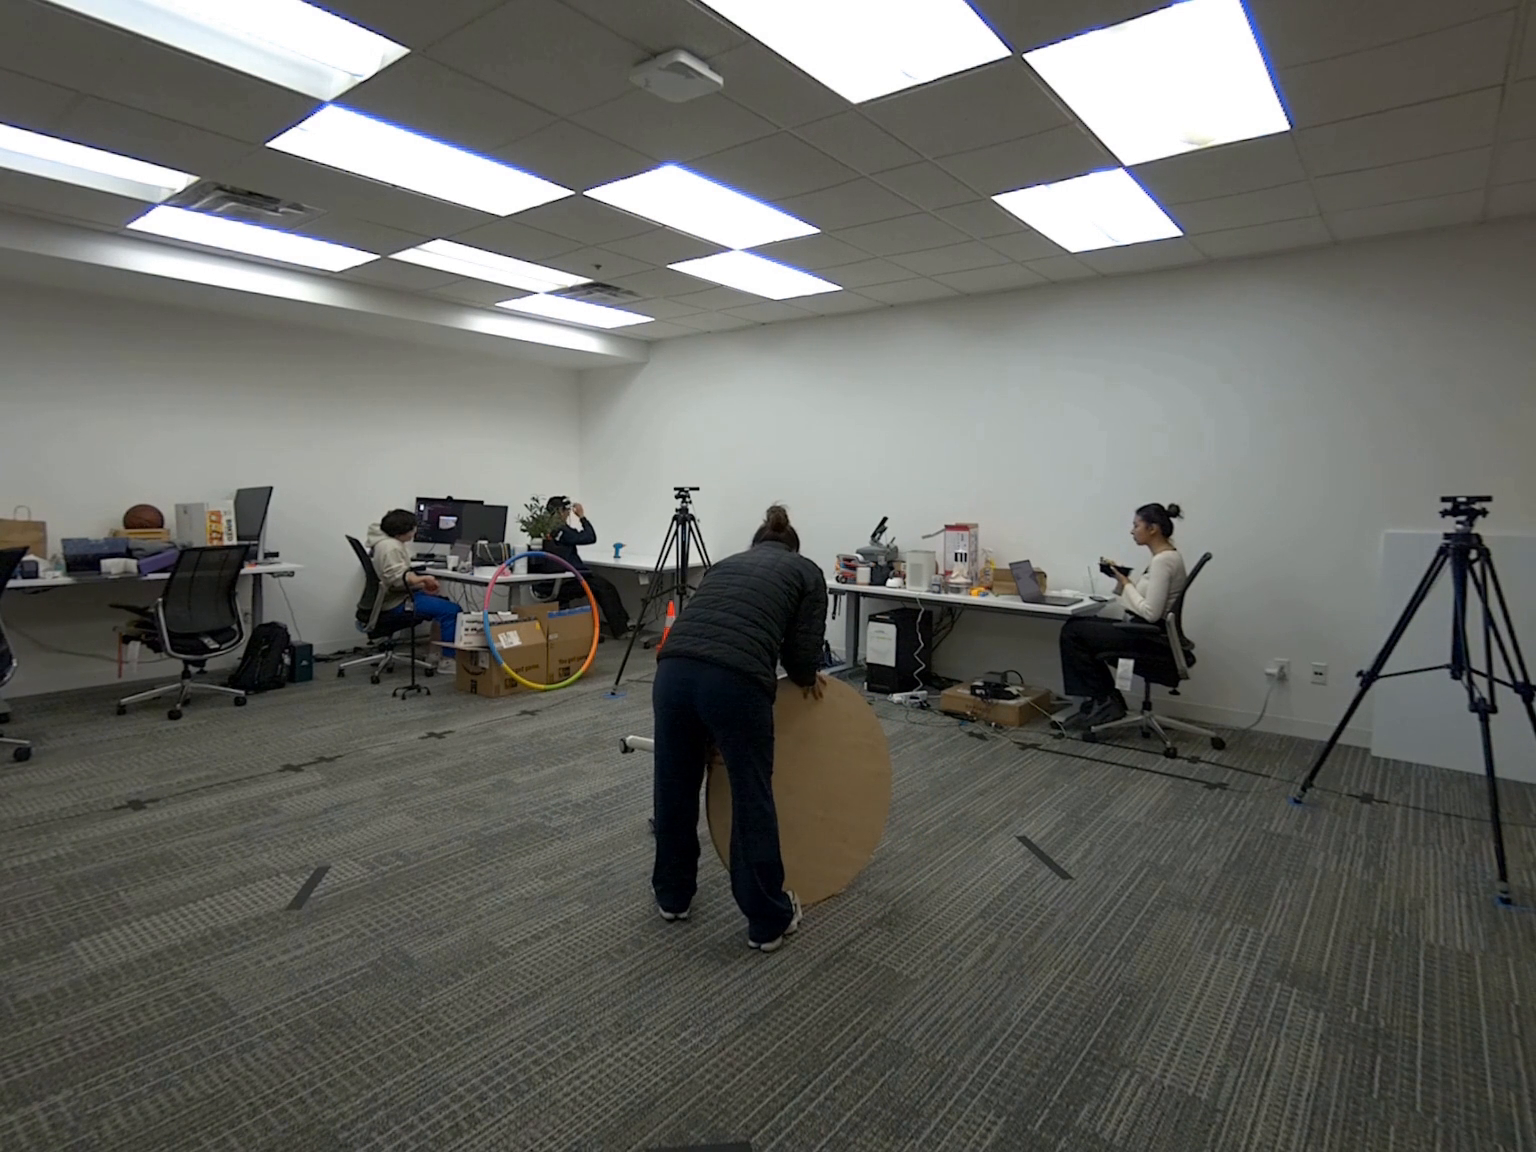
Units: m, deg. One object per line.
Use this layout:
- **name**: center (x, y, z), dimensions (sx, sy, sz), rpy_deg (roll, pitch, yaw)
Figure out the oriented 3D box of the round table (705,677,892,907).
- **round table**: center (-0.078, 0.722, 3.233), dimensions (0.763, 0.787, 0.807), rpy_deg (-2, -2, -34)
